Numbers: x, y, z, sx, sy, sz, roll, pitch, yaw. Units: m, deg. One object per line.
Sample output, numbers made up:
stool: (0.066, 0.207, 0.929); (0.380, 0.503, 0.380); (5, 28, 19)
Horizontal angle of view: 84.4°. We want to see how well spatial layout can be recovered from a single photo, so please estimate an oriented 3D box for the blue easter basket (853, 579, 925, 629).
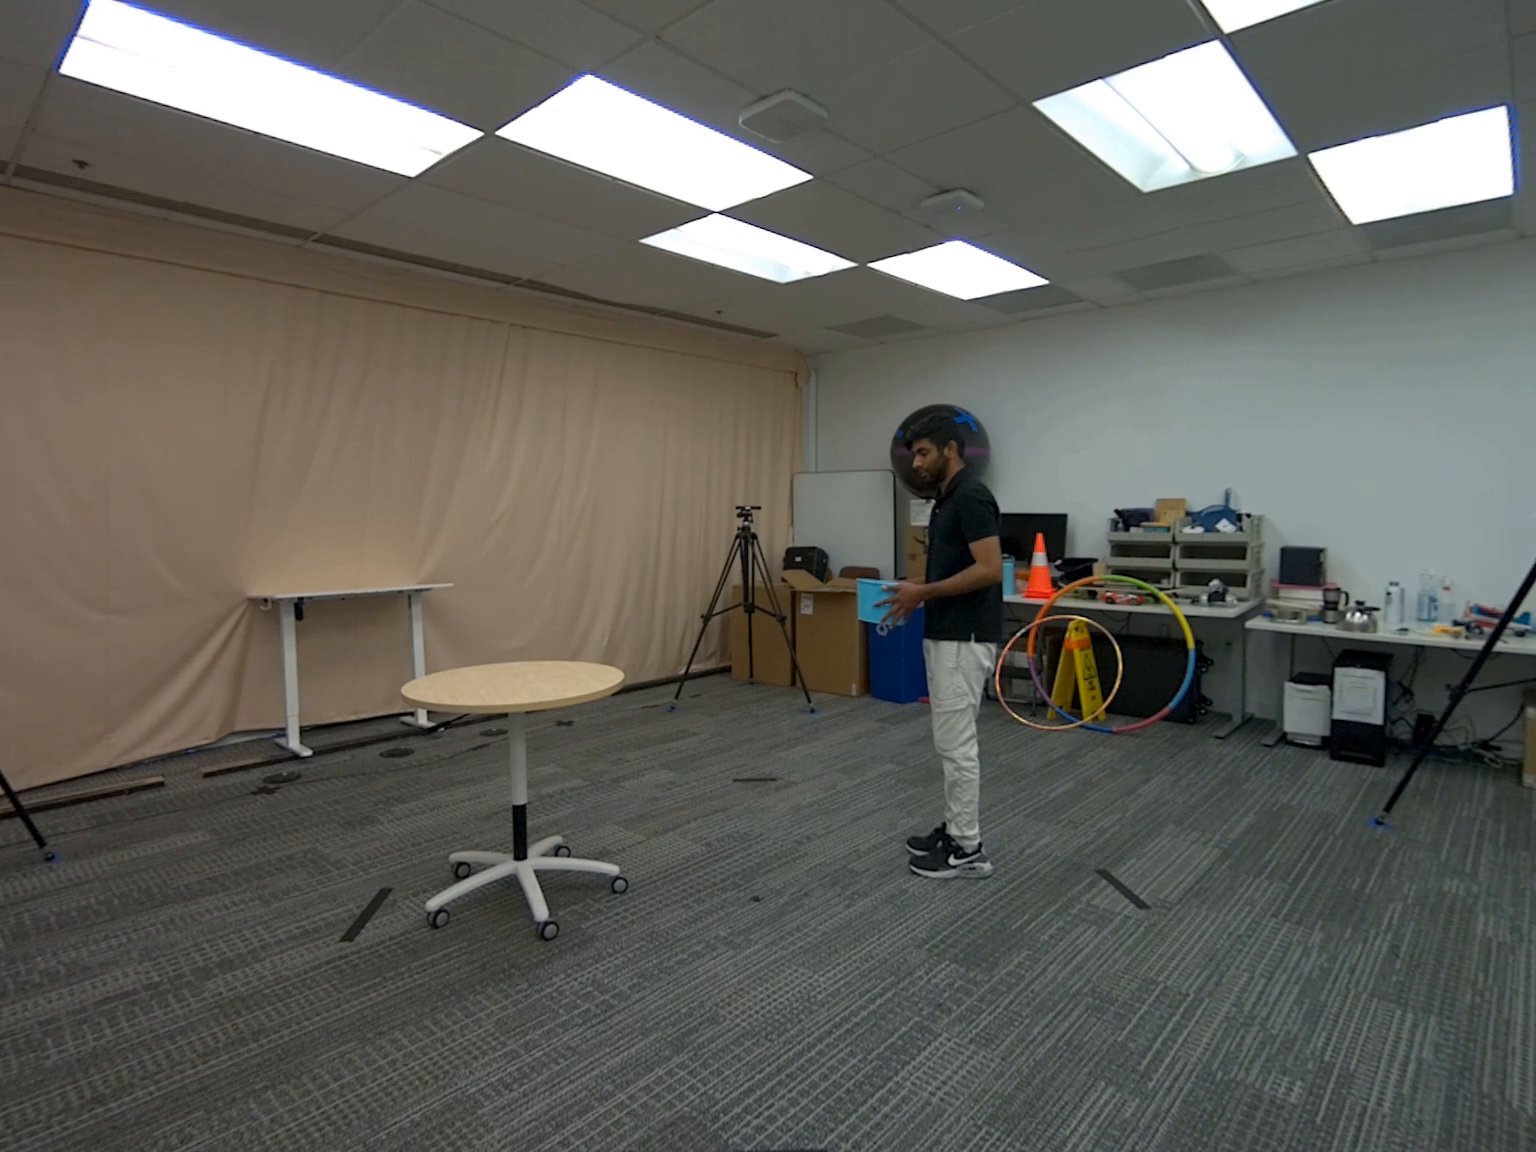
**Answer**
blue easter basket: (0.473, 0.103, 3.240); (0.243, 0.156, 0.244); (5, 1, -2)
